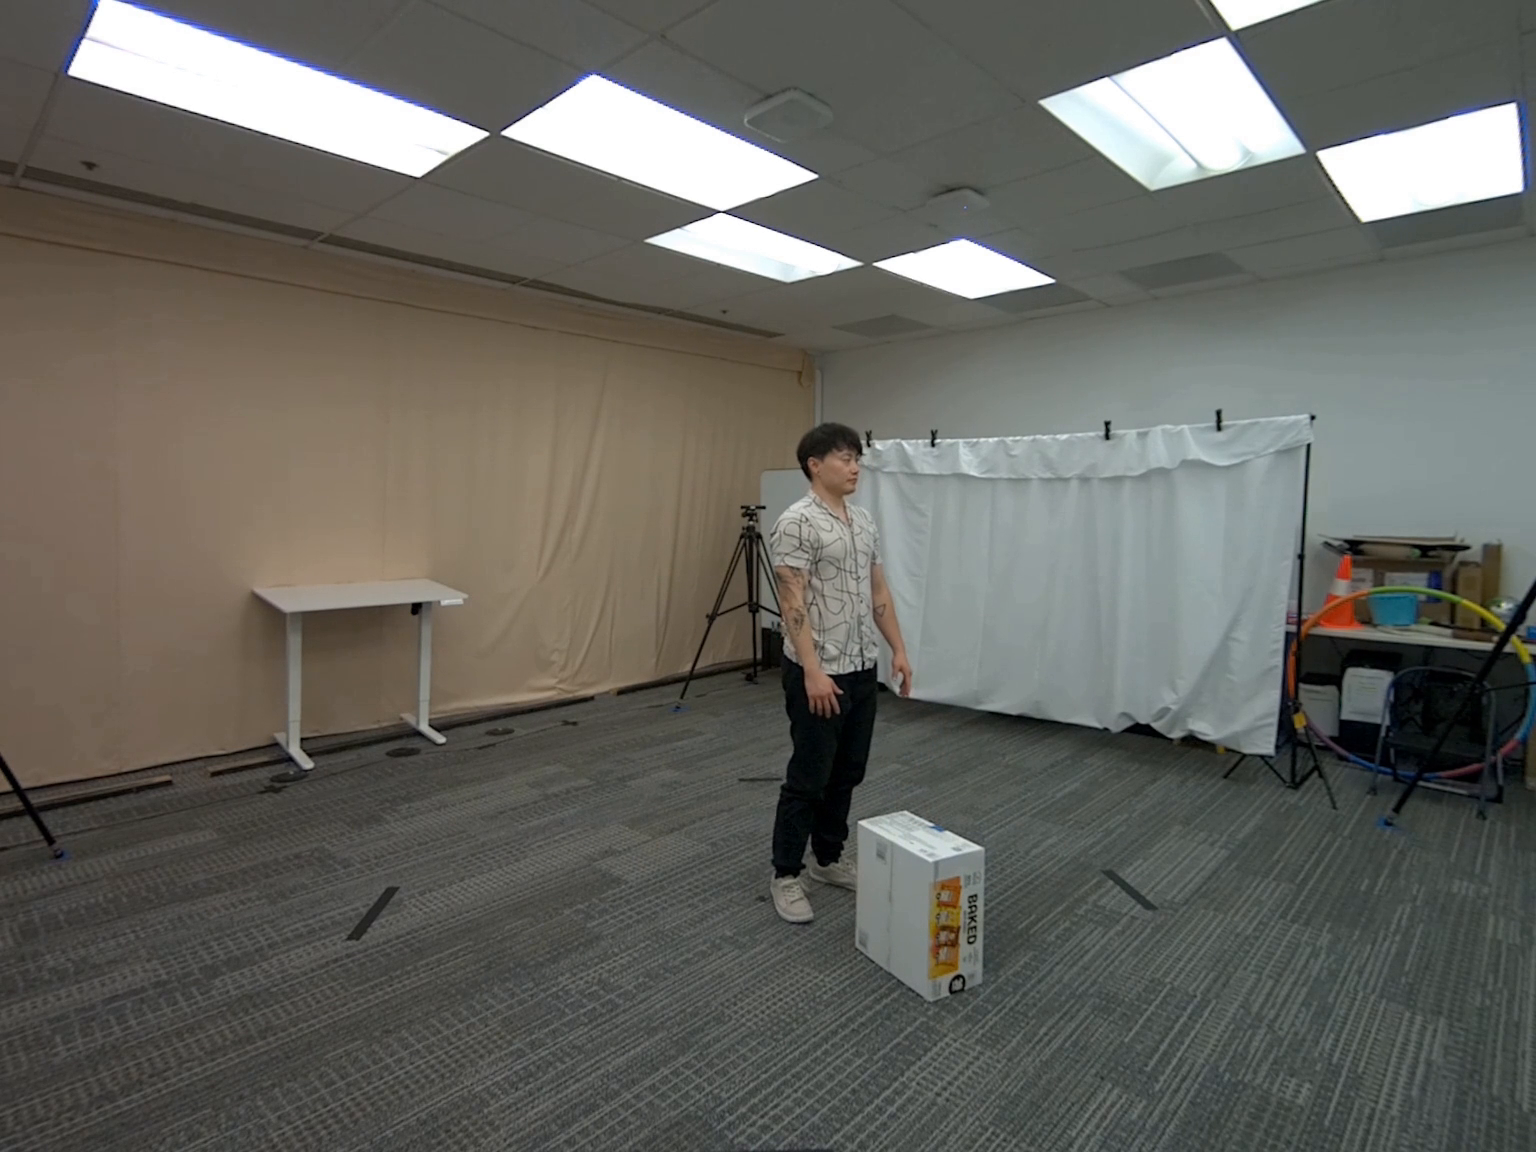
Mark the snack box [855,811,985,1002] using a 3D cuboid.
[{"bbox_3d":[0.455,0.976,2.538,0.200,0.404,0.350,-2,5,-31],"label":"snack box"}]
